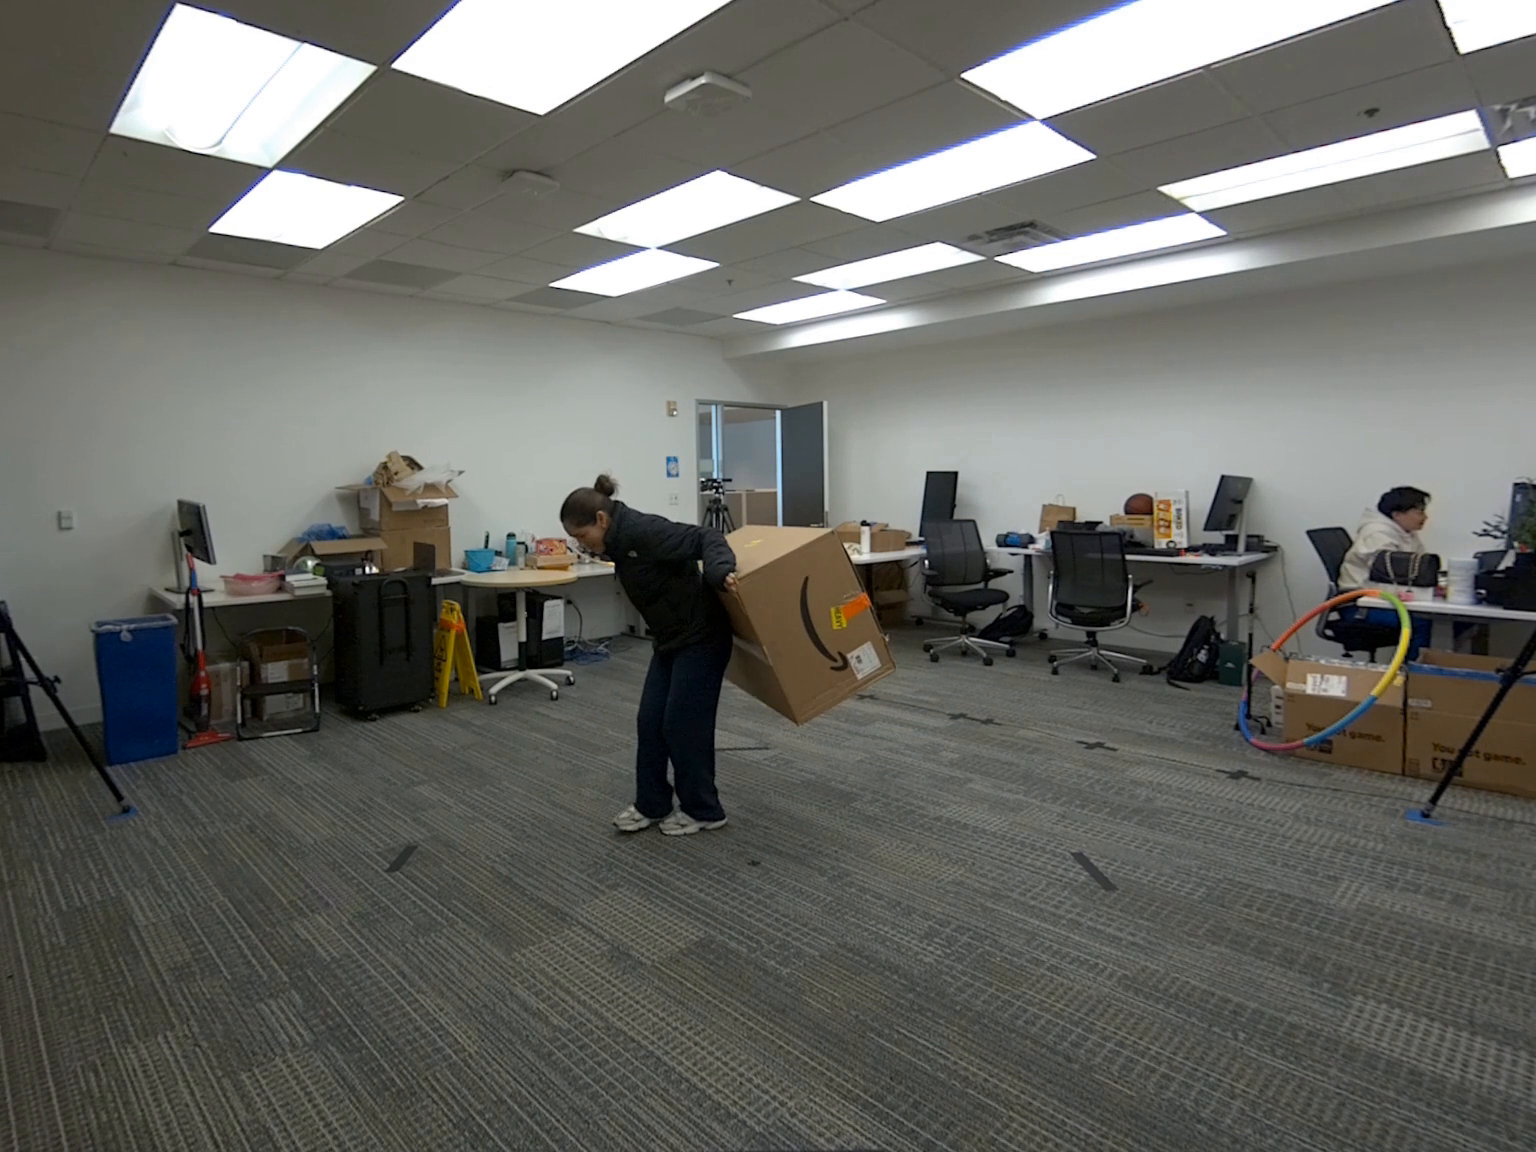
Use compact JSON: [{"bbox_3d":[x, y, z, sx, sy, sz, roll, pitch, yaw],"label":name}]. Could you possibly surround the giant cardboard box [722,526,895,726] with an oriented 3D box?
[{"bbox_3d":[0.004,0.150,3.496,0.423,0.571,1.045,-27,11,-15],"label":"giant cardboard box"}]
